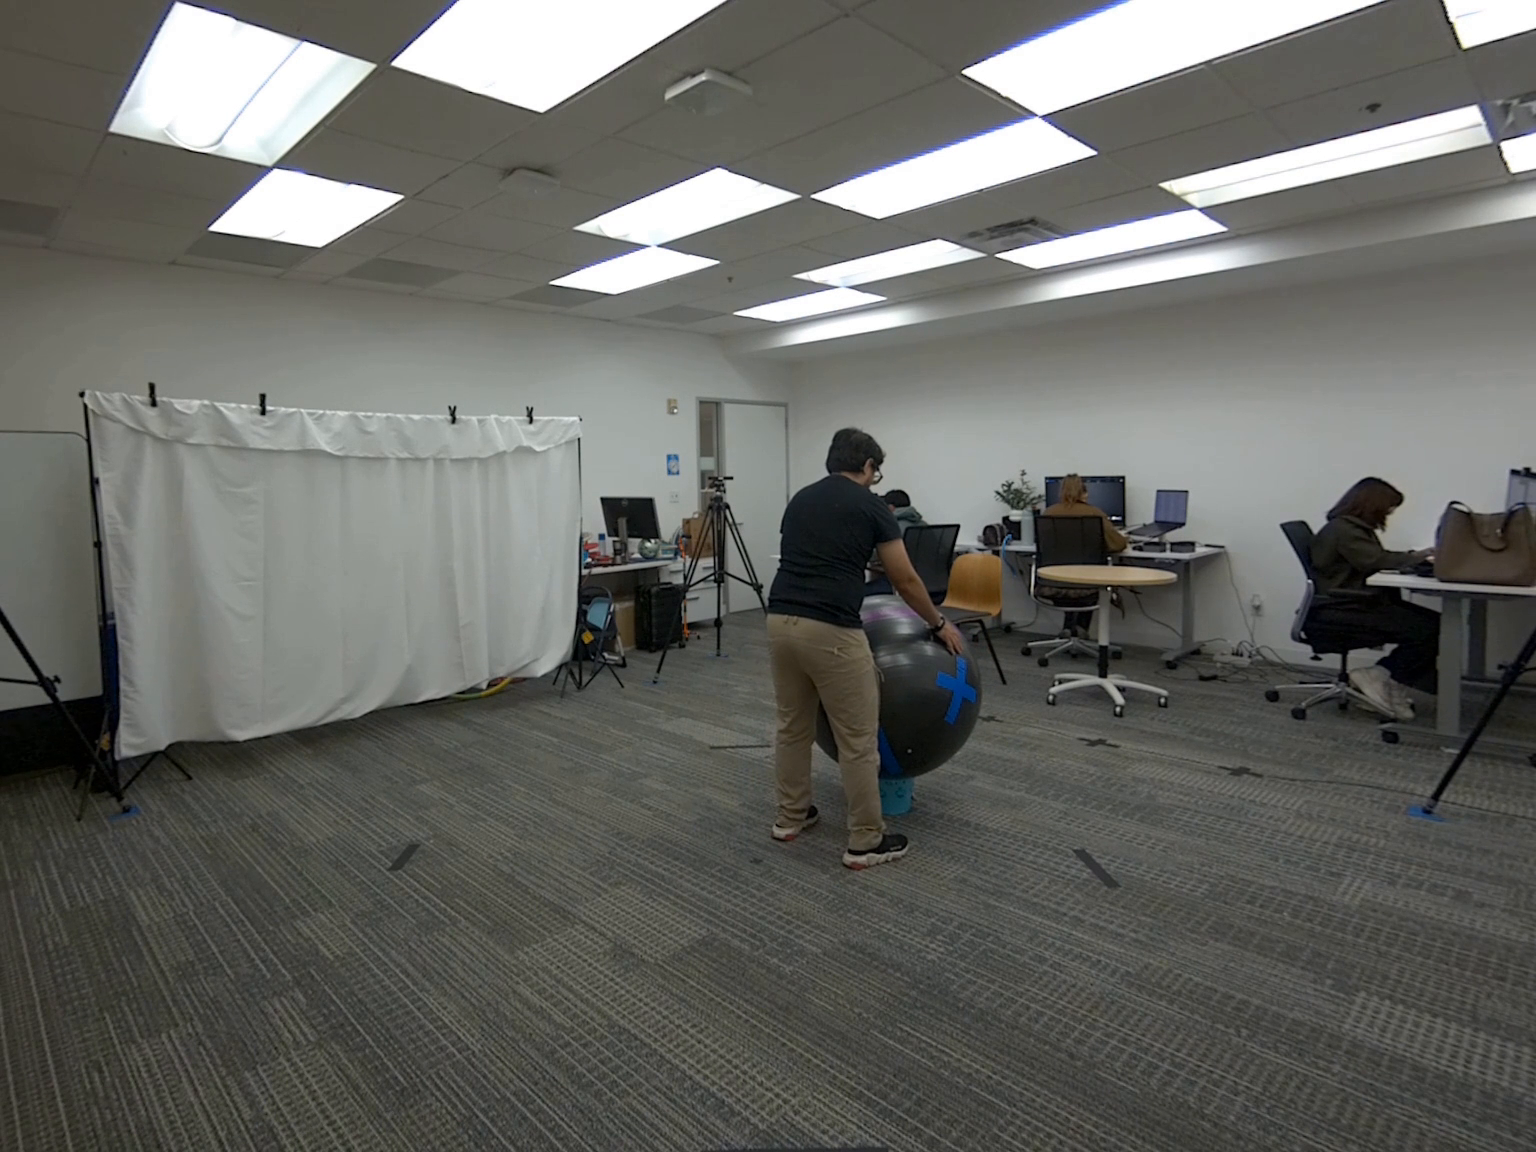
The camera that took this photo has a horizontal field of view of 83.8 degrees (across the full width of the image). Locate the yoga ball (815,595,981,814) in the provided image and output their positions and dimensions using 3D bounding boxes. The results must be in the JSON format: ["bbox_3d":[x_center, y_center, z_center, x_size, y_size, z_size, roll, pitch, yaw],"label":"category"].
[{"bbox_3d":[0.497,0.463,3.567,0.757,0.755,0.762,-1,5,-2],"label":"yoga ball"}]
